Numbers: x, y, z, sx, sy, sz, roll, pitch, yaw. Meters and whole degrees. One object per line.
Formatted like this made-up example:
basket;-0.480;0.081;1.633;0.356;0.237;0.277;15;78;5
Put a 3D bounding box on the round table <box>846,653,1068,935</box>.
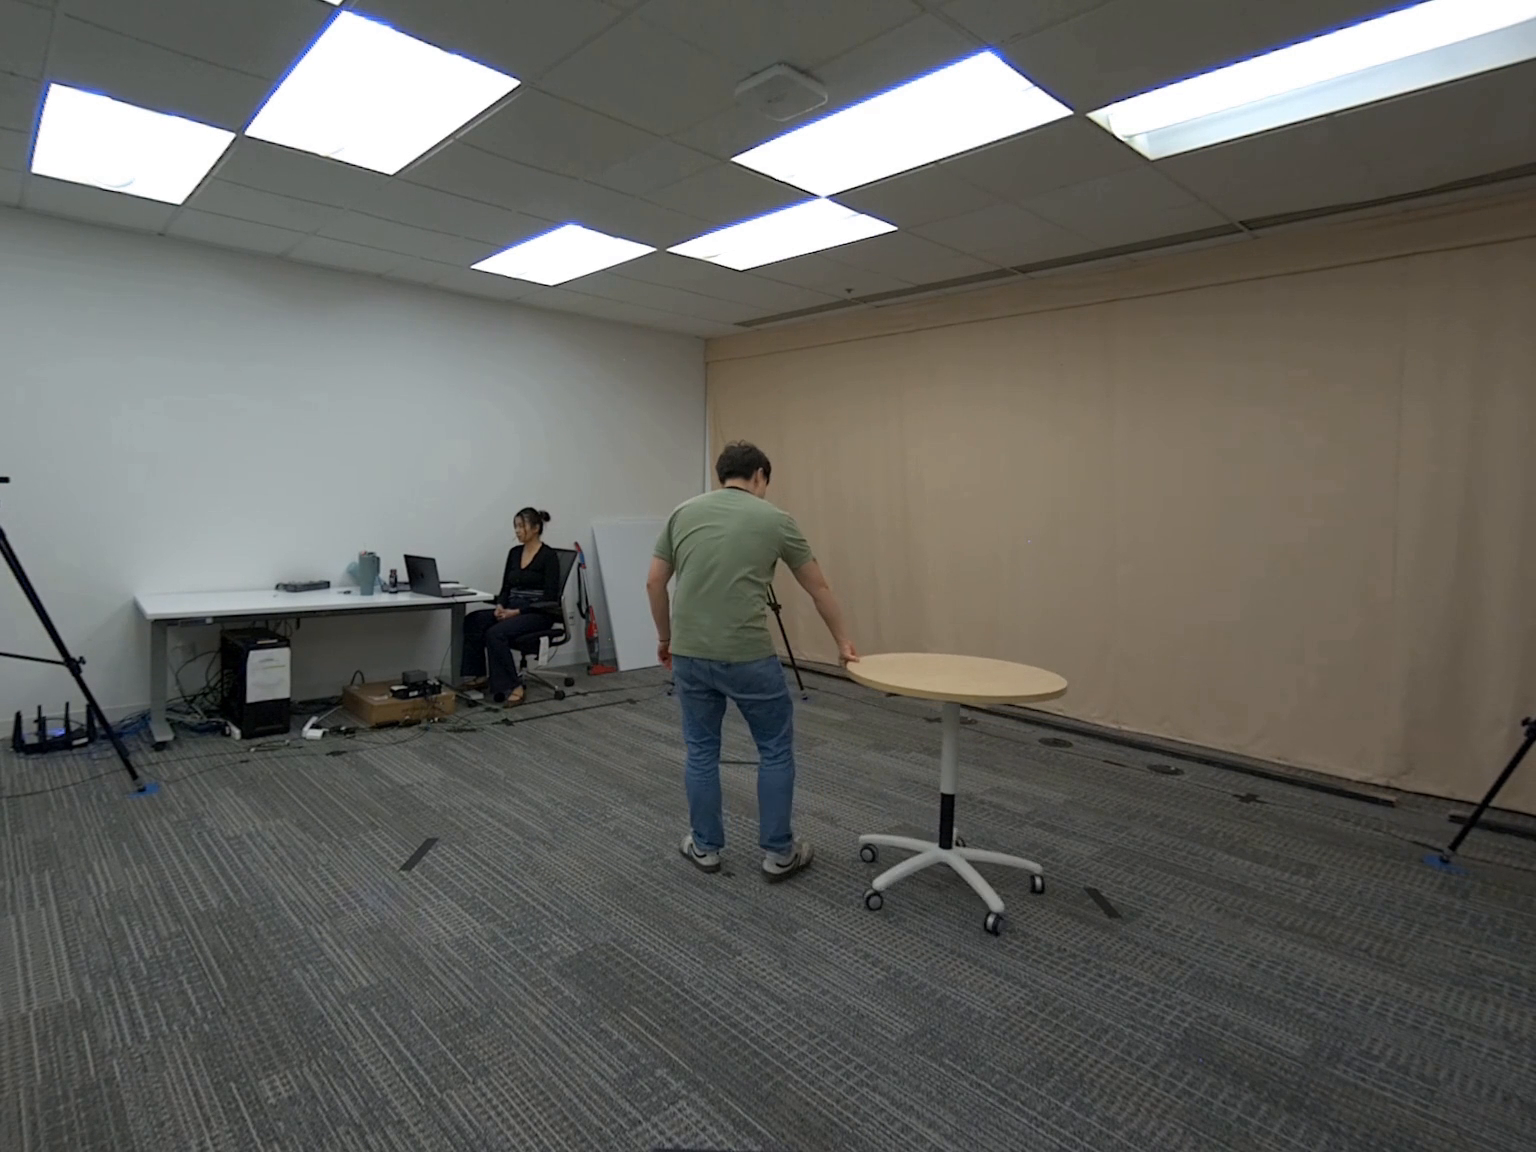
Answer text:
round table;0.633;0.737;3.047;0.763;0.792;0.766;2;3;-1
